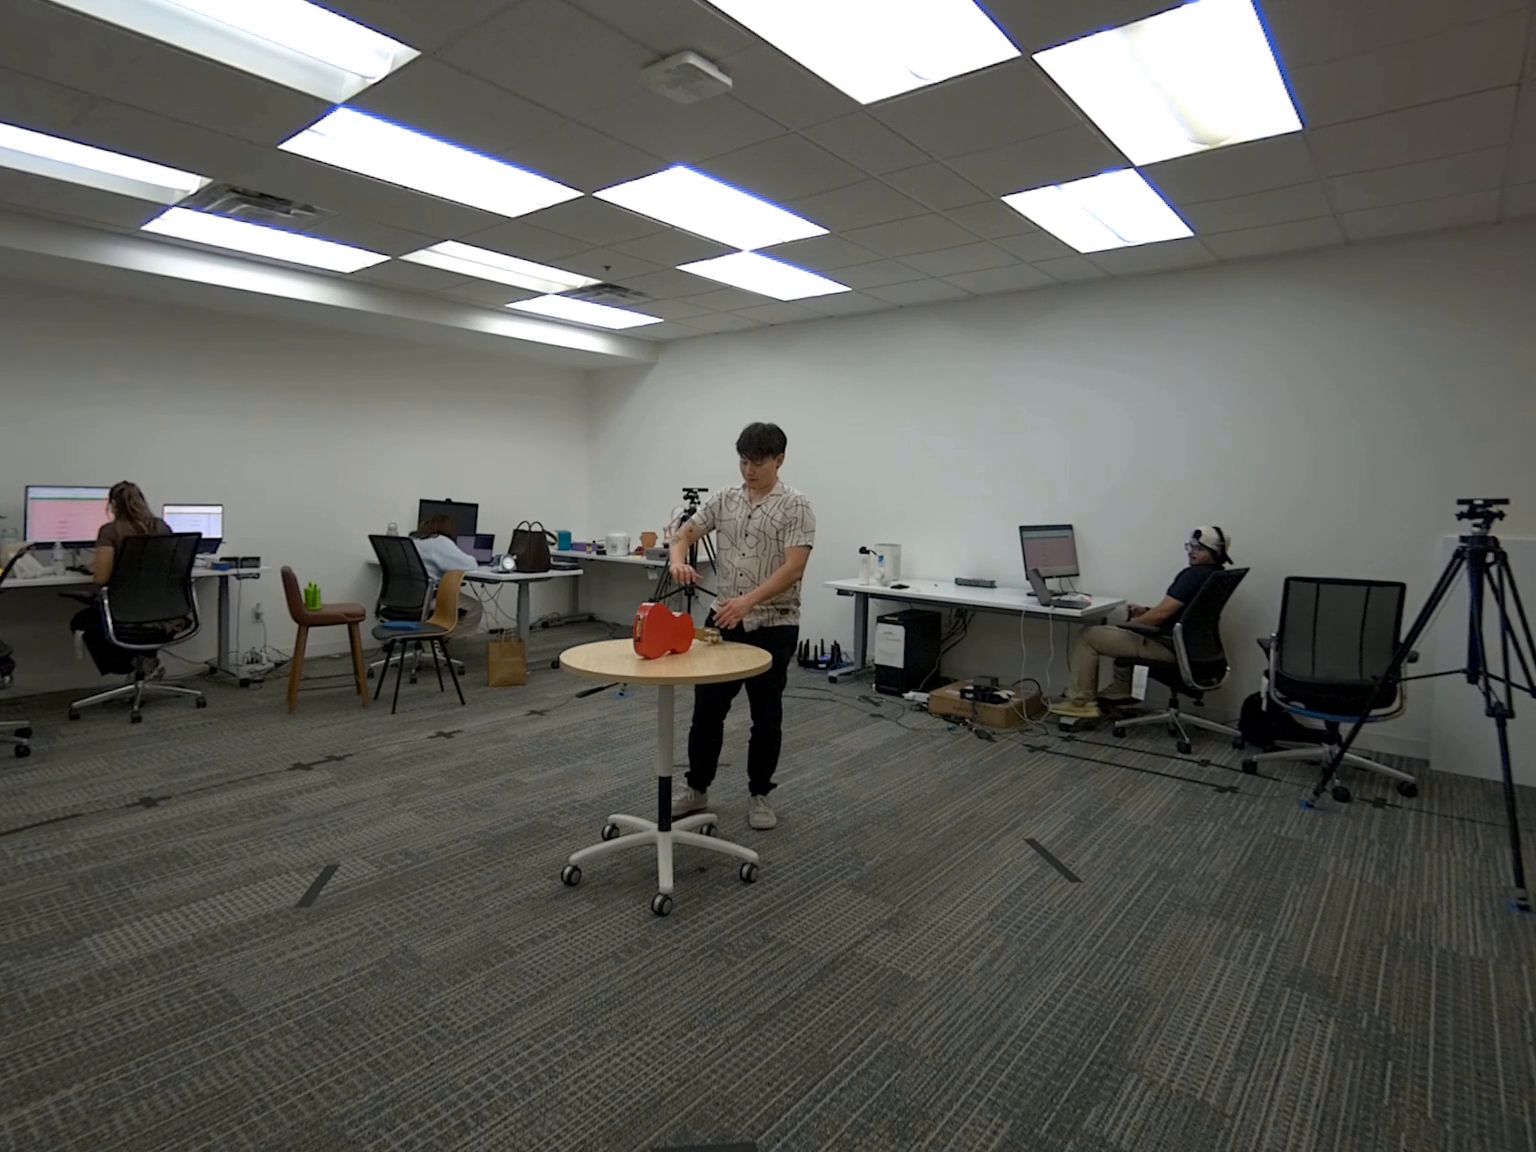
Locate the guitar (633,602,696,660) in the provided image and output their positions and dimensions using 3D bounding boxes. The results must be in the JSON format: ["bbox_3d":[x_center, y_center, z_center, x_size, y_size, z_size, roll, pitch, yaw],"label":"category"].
[{"bbox_3d":[-0.330,0.184,3.173,0.073,0.193,0.483,0,3,35],"label":"guitar"}]
